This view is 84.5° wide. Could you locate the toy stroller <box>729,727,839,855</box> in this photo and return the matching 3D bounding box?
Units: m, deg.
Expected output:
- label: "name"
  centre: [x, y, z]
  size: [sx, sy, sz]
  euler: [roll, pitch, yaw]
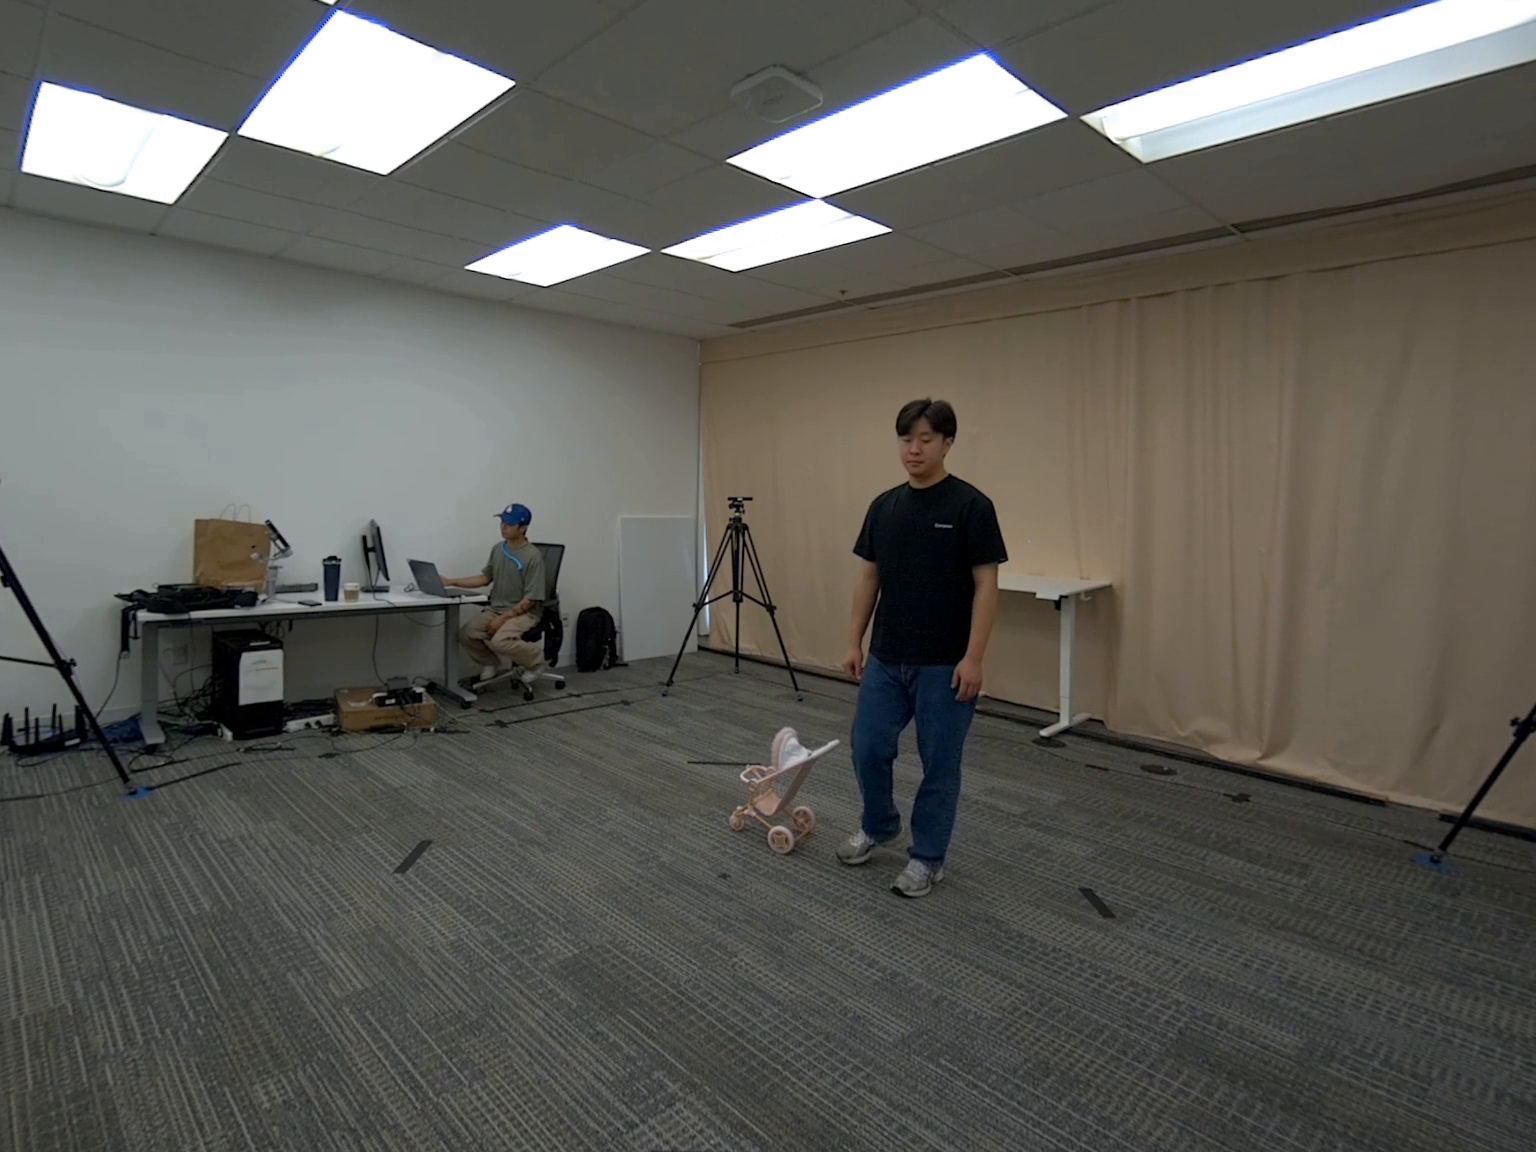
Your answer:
- label: "toy stroller"
  centre: [0.041, 0.858, 3.451]
  size: [0.350, 0.532, 0.276]
  euler: [22, 12, 27]
